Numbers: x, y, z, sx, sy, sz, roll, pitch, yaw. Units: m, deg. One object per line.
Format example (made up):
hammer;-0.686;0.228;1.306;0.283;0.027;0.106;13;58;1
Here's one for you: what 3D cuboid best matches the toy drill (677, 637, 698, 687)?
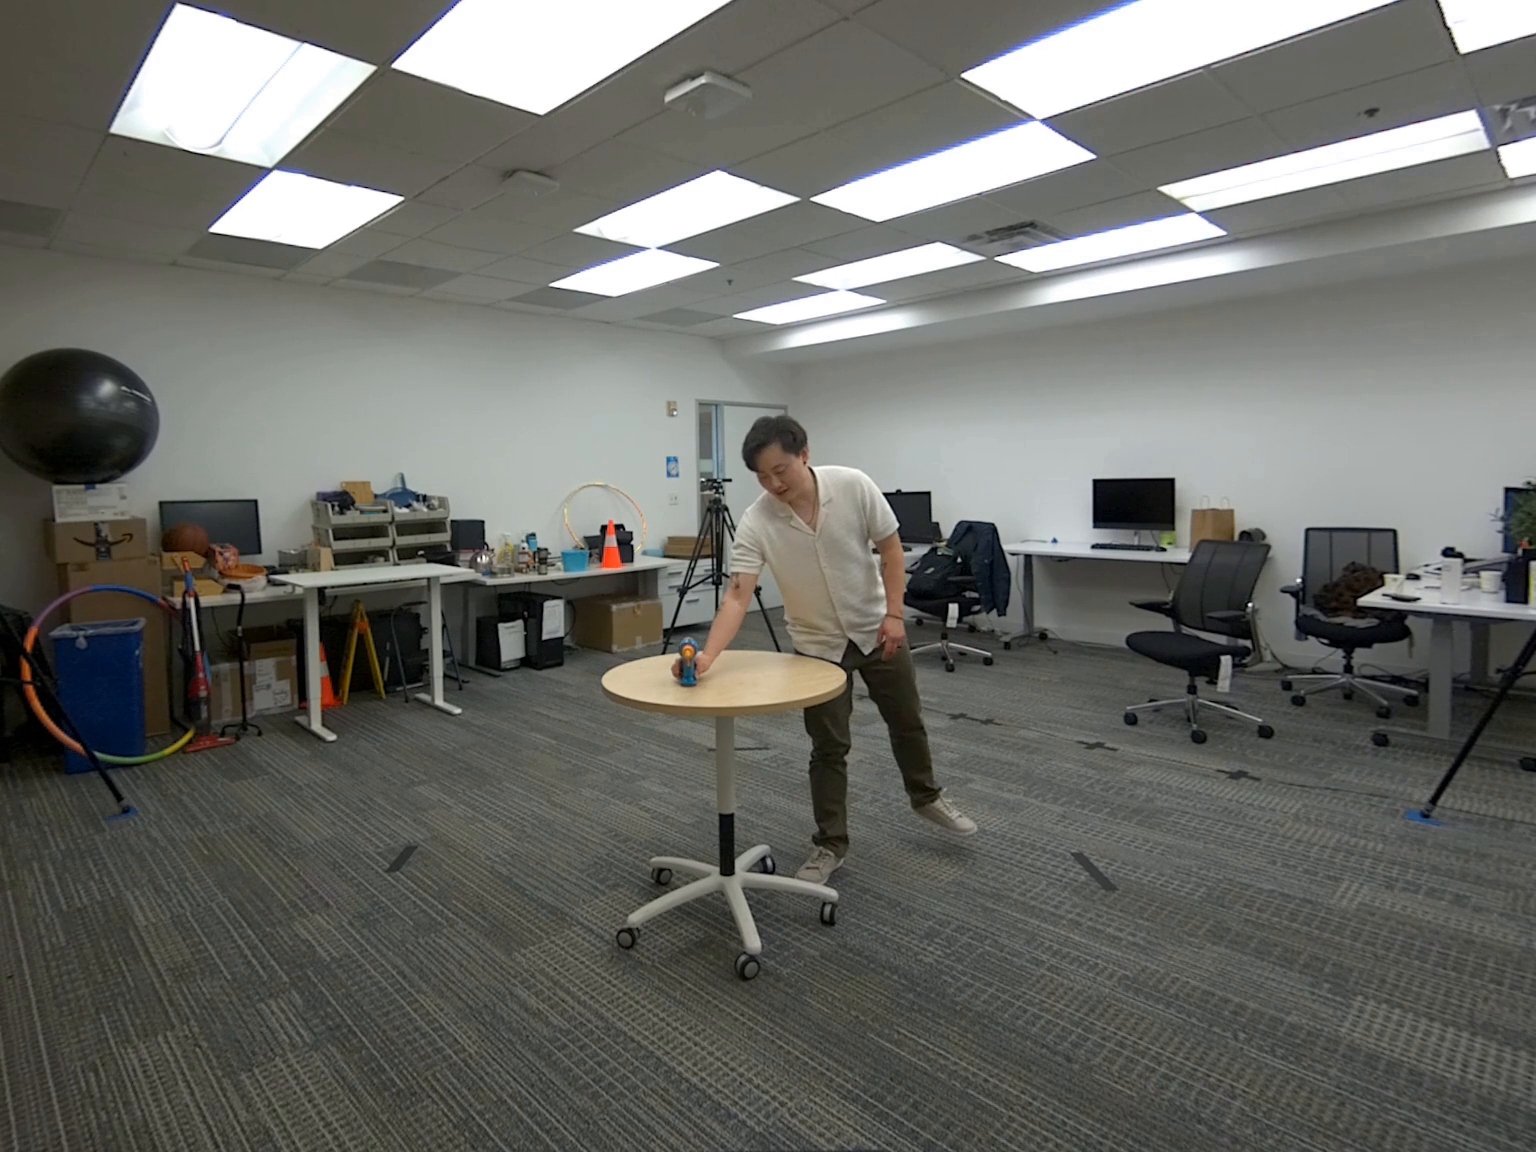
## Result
toy drill;-0.225;0.256;2.530;0.061;0.145;0.171;-1;6;-5
